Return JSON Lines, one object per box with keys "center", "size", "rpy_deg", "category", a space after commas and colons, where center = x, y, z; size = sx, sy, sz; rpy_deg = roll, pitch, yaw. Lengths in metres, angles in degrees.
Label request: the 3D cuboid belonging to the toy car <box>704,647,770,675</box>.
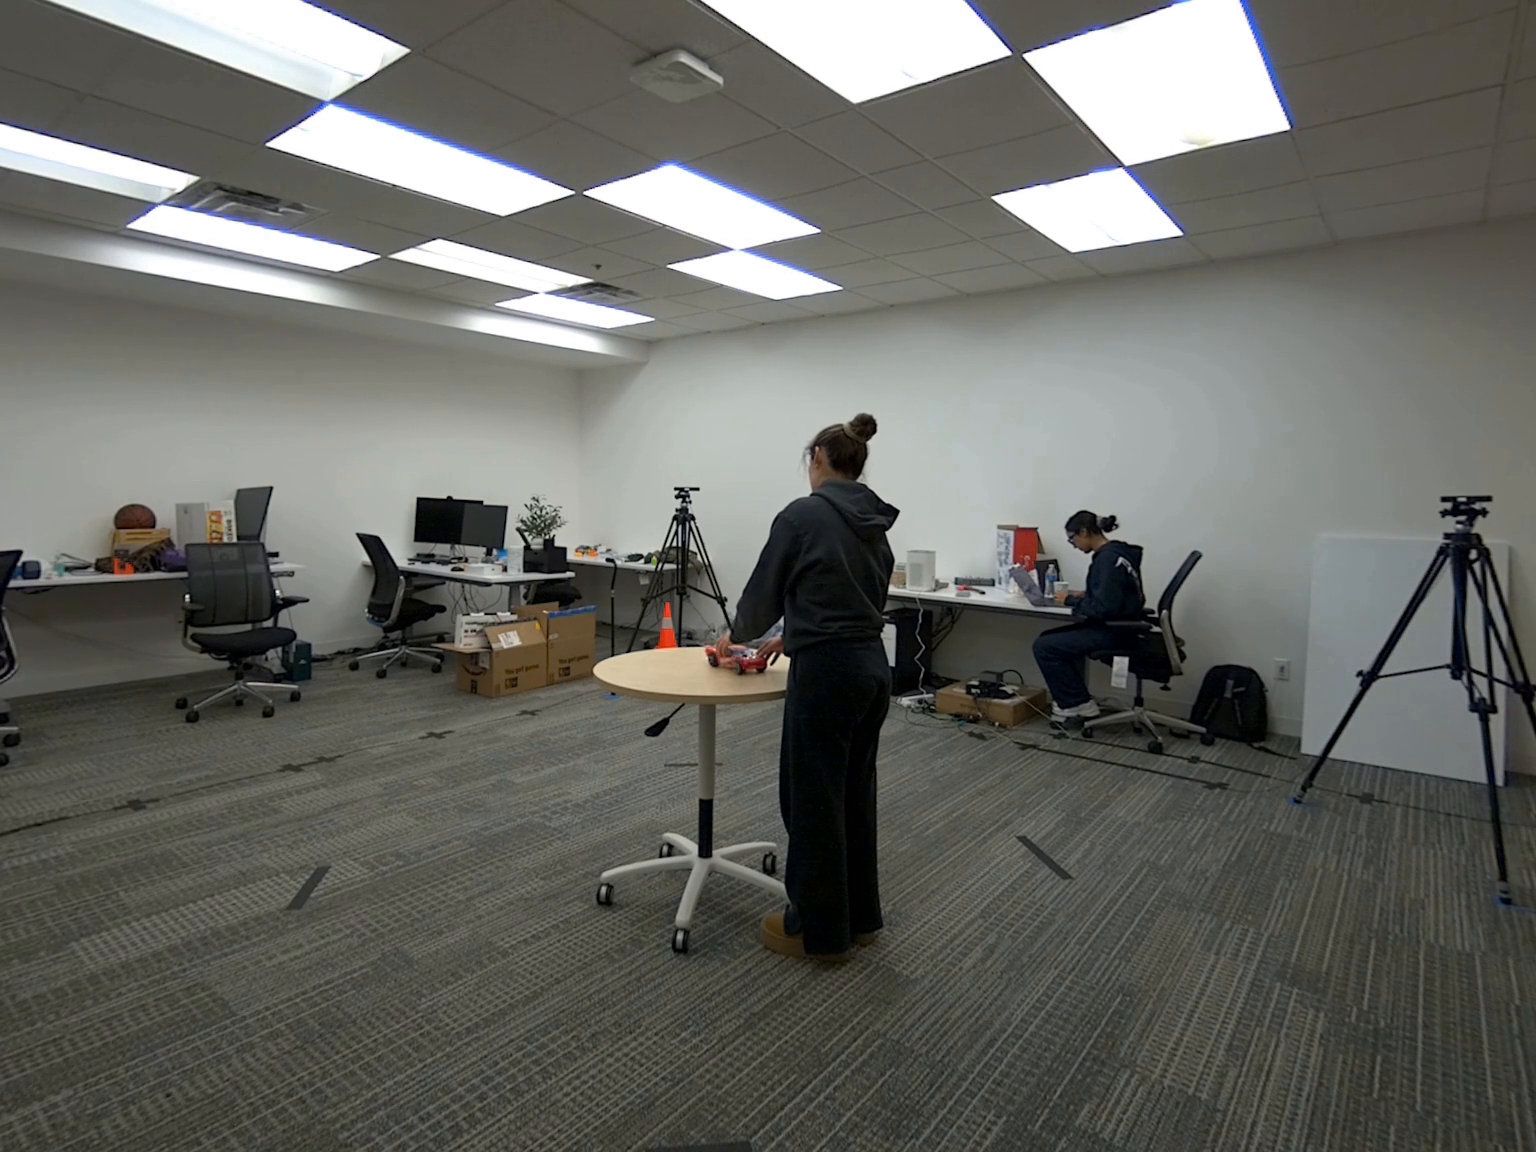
{"center": [-0.121, 0.278, 2.876], "size": [0.126, 0.082, 0.265], "rpy_deg": [-3, 18, -35], "category": "toy car"}
